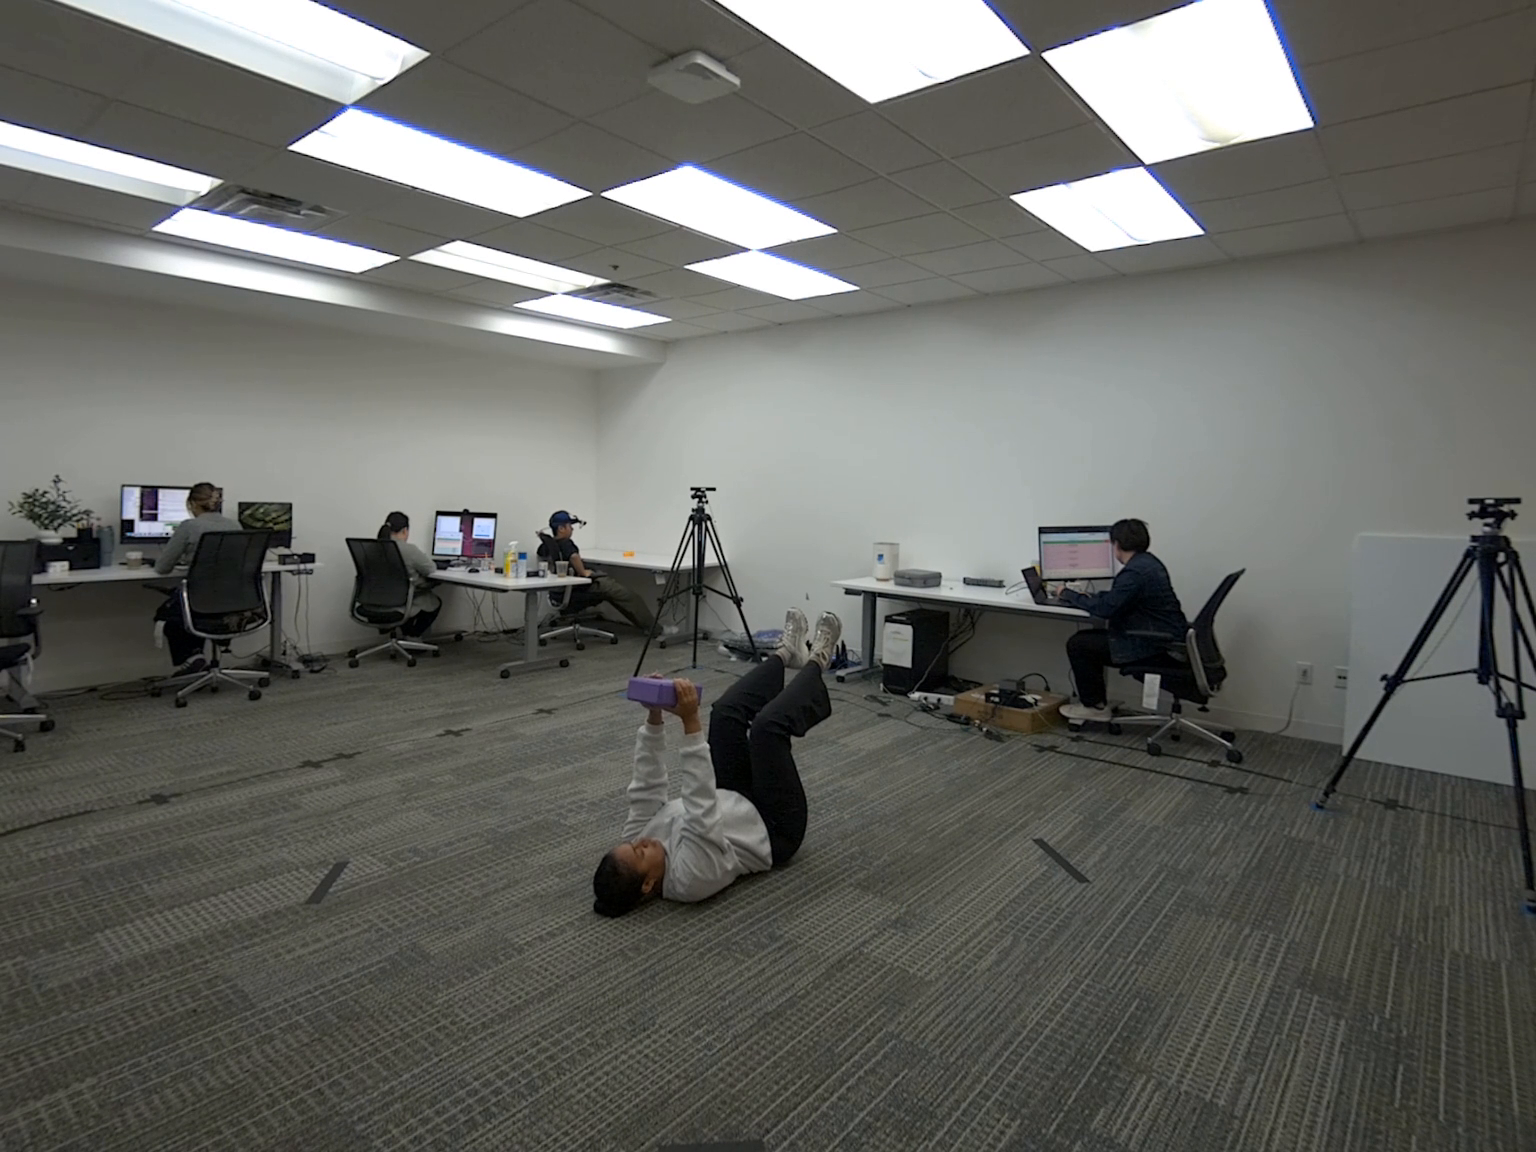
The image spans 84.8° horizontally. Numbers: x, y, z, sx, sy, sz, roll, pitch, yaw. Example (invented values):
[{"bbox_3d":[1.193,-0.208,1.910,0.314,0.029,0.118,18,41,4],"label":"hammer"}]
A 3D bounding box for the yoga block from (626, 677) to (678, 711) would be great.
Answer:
[{"bbox_3d":[-0.359,0.392,2.870,0.154,0.077,0.221,3,-6,36],"label":"yoga block"}]
